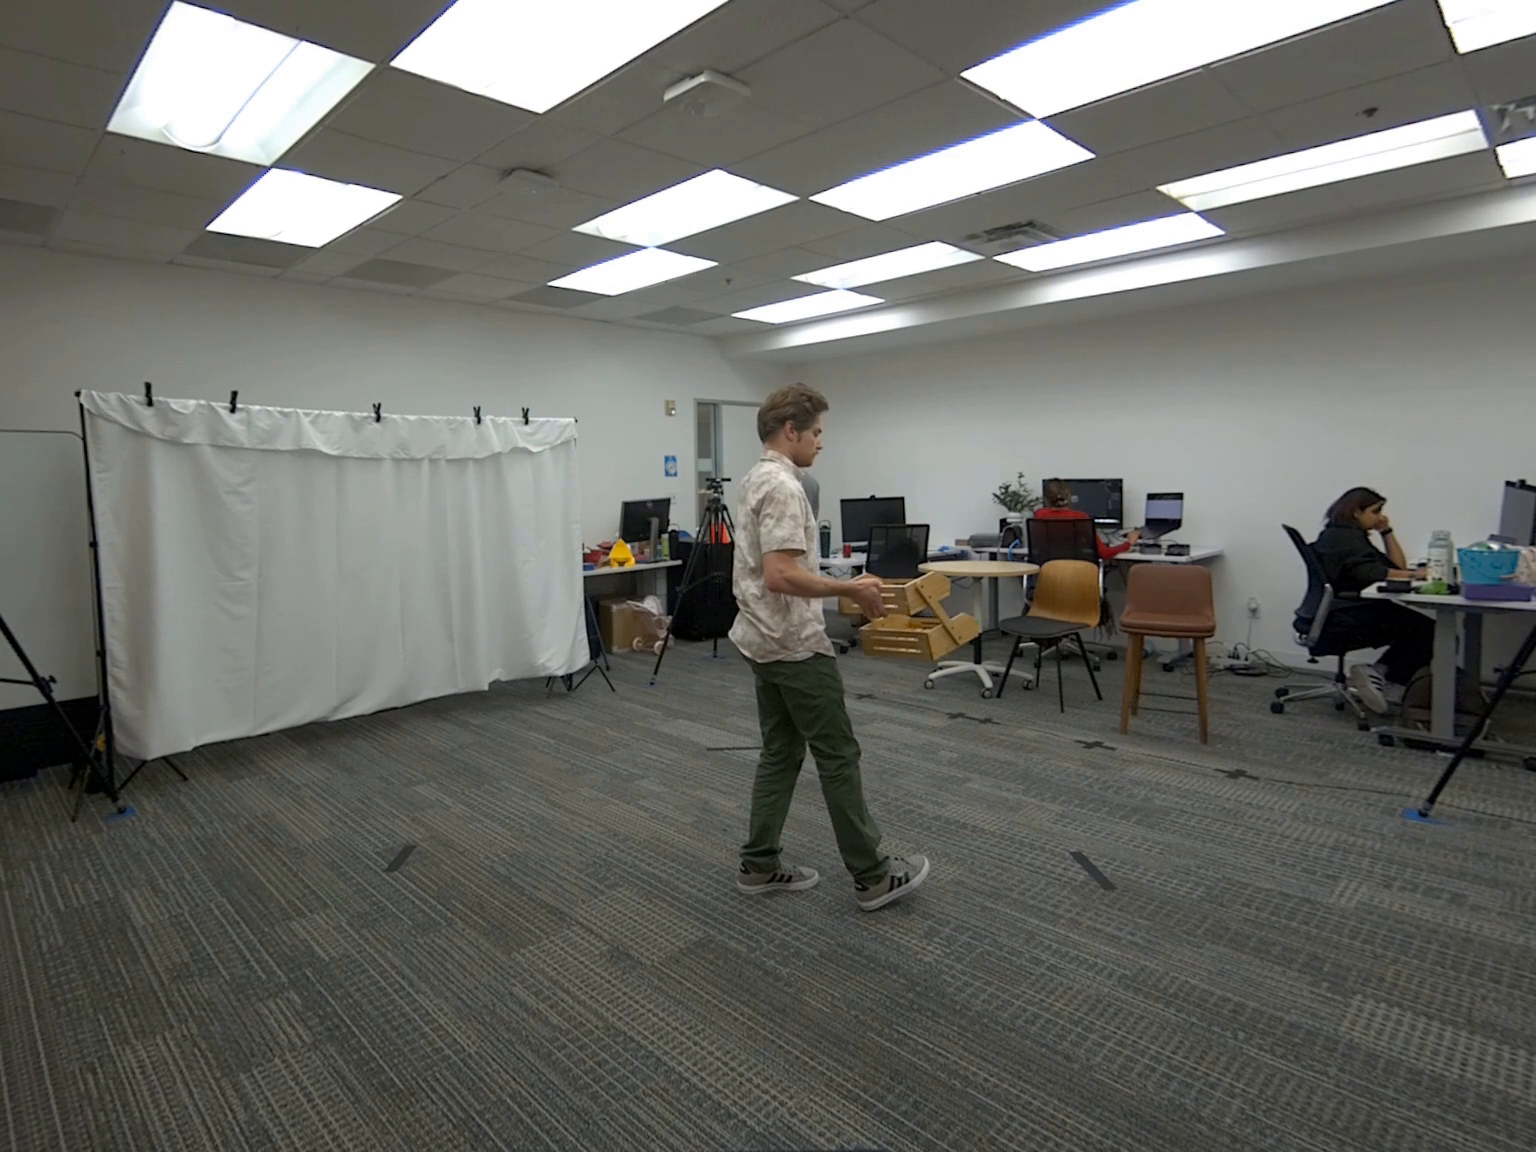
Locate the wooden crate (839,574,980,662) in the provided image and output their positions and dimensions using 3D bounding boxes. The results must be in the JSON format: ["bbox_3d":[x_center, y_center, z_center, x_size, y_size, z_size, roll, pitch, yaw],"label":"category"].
[{"bbox_3d":[0.464,0.107,2.813,0.297,0.271,0.333,-22,11,-35],"label":"wooden crate"}]
